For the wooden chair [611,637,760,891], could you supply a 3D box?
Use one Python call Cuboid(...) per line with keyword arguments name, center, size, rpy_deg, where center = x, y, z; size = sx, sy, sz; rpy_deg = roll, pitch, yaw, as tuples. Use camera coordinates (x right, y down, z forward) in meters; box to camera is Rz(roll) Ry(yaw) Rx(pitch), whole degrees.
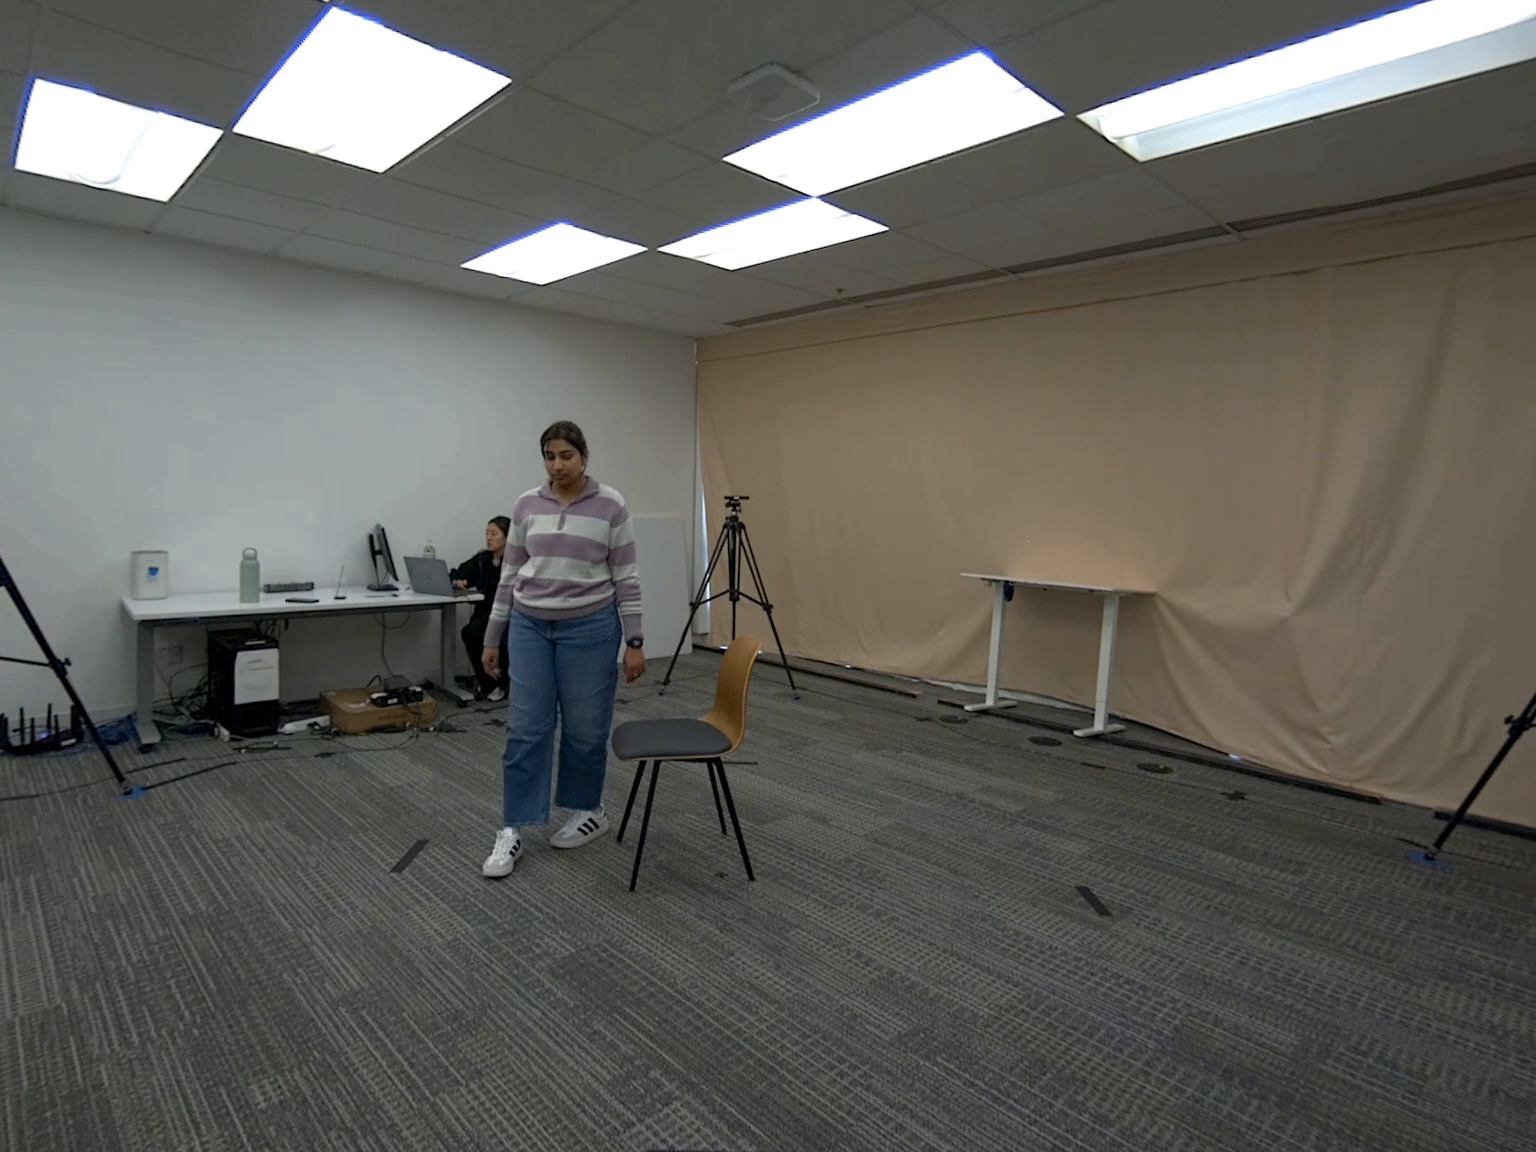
Cuboid(name="wooden chair", center=(-0.332, 0.663, 3.188), size=(0.516, 0.876, 0.485), rpy_deg=(5, 3, -15))
